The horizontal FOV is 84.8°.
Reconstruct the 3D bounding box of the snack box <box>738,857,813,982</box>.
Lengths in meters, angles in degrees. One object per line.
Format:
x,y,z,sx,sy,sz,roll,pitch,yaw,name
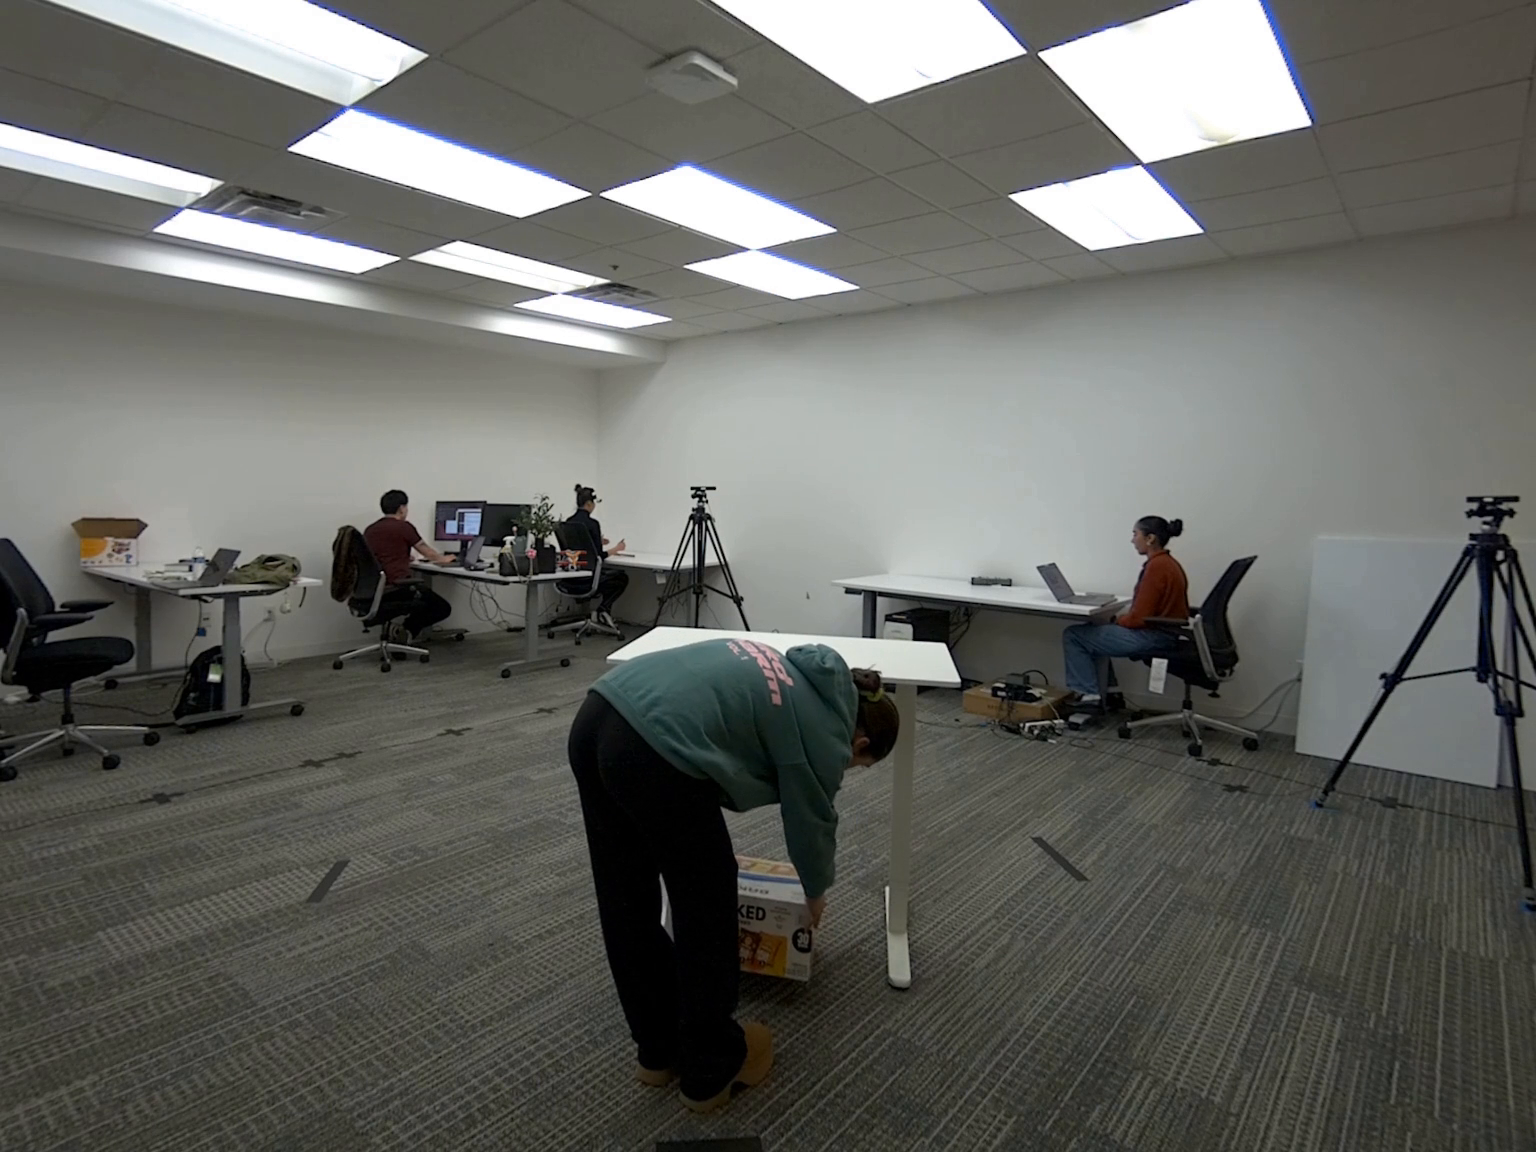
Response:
-0.063,0.971,2.472,0.409,0.206,0.336,4,-3,8,snack box
